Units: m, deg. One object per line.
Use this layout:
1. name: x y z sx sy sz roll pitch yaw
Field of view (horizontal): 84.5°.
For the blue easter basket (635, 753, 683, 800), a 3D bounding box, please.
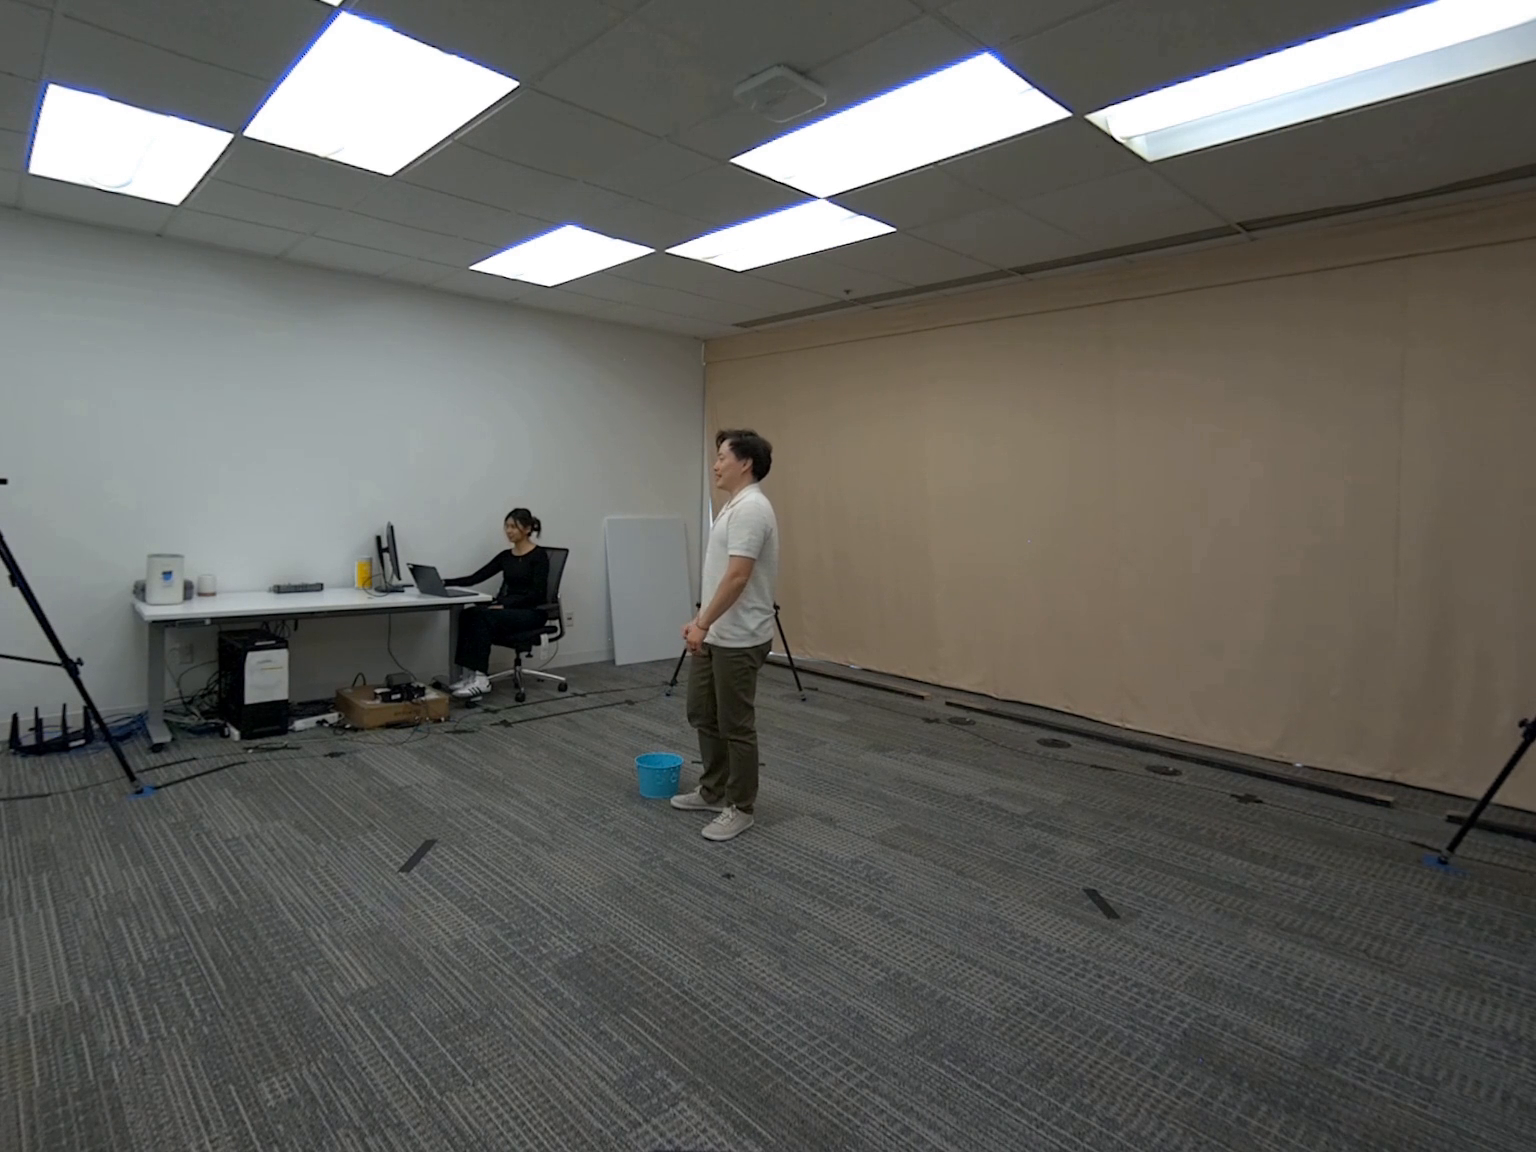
1. blue easter basket: -0.525 0.944 3.993 0.243 0.155 0.244 2 5 -1
